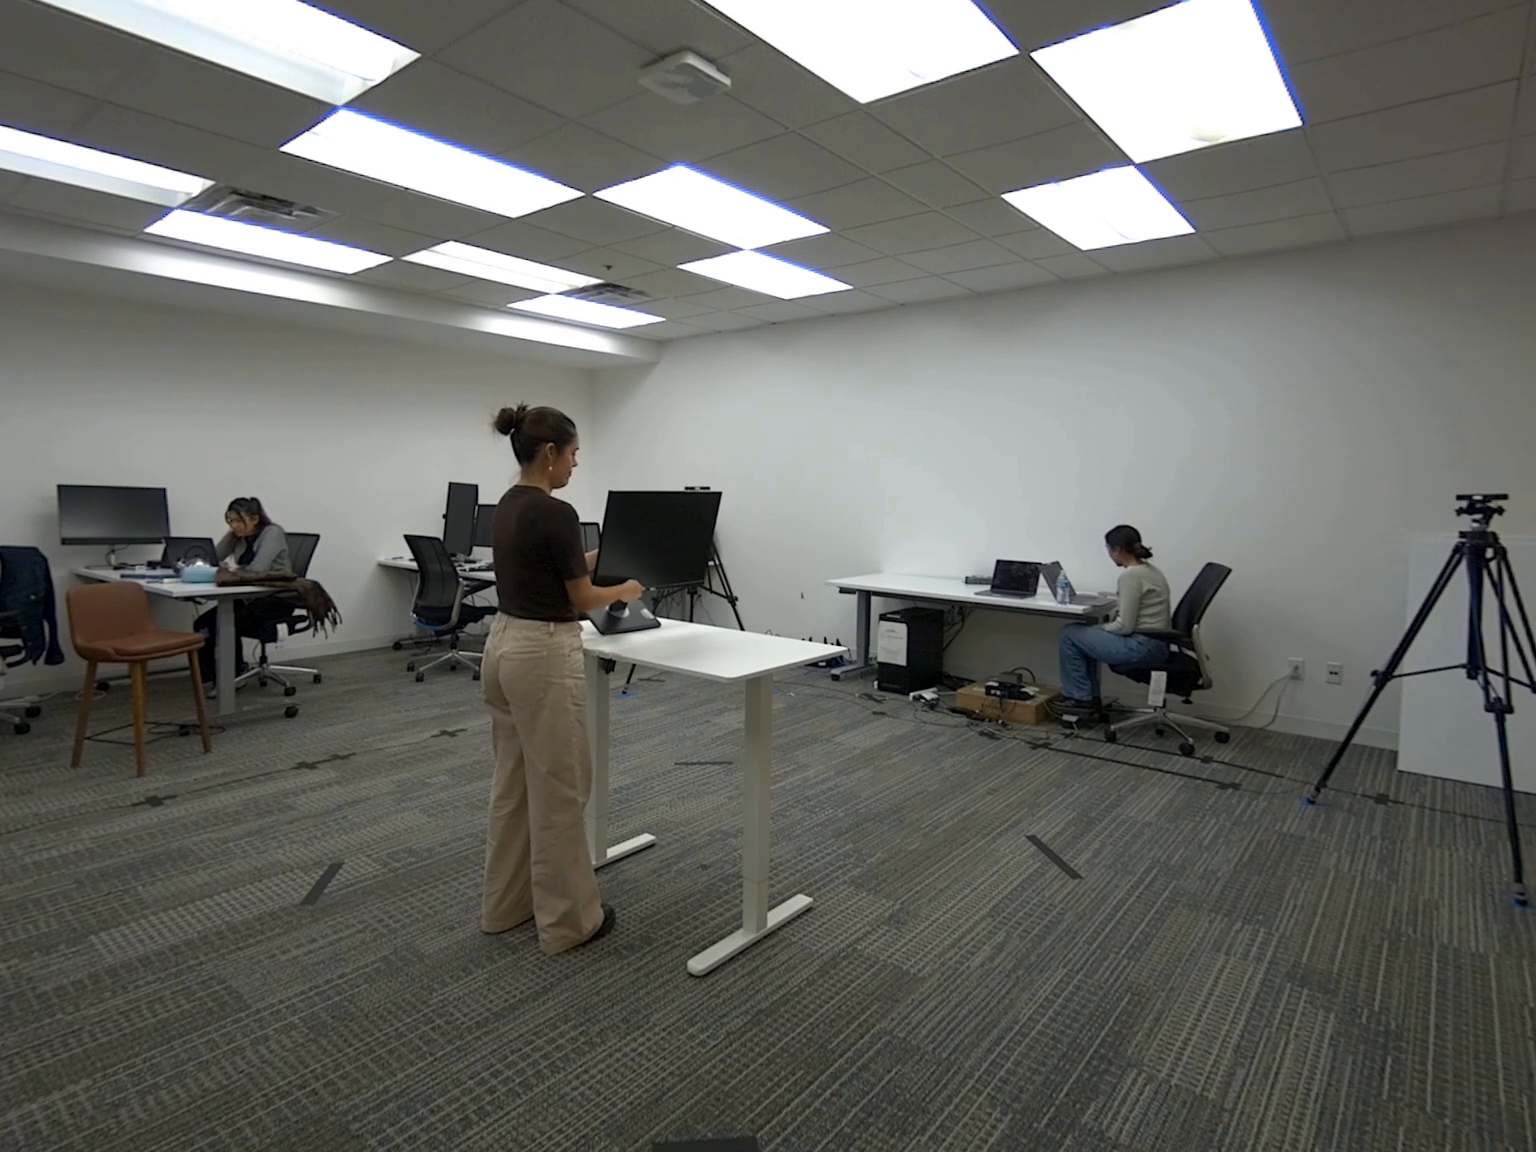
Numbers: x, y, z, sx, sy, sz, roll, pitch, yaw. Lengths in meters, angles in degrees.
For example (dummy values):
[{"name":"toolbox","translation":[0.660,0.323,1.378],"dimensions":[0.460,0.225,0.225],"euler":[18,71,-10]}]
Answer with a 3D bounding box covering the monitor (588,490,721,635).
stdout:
[{"name":"monitor","translation":[-0.438,-0.061,2.922],"dimensions":[0.194,0.518,0.524],"euler":[37,25,28]}]
